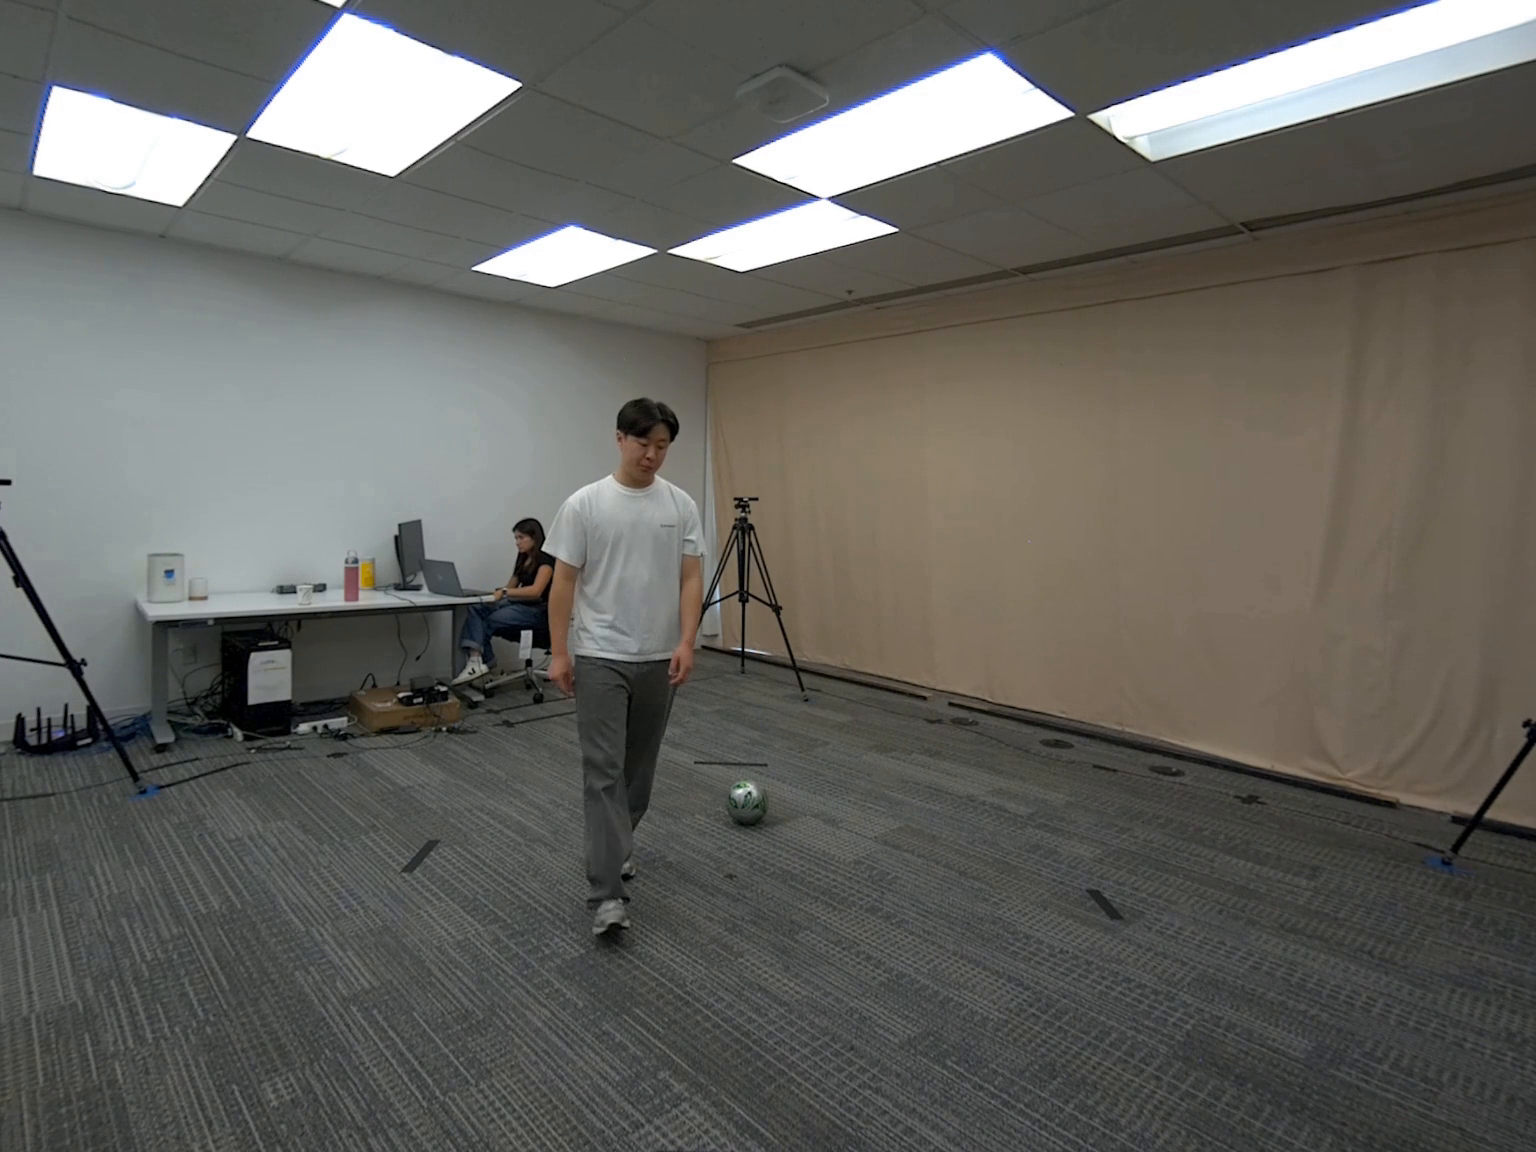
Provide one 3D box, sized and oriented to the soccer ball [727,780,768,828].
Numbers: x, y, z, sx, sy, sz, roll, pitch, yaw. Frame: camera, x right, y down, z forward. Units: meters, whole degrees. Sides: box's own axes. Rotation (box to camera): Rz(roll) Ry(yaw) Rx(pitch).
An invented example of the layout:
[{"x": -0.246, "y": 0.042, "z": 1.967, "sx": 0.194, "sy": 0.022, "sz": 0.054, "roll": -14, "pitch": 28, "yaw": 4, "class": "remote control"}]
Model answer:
[{"x": -0.102, "y": 0.976, "z": 3.621, "sx": 0.187, "sy": 0.187, "sz": 0.188, "roll": 1, "pitch": 4, "yaw": -1, "class": "soccer ball"}]
